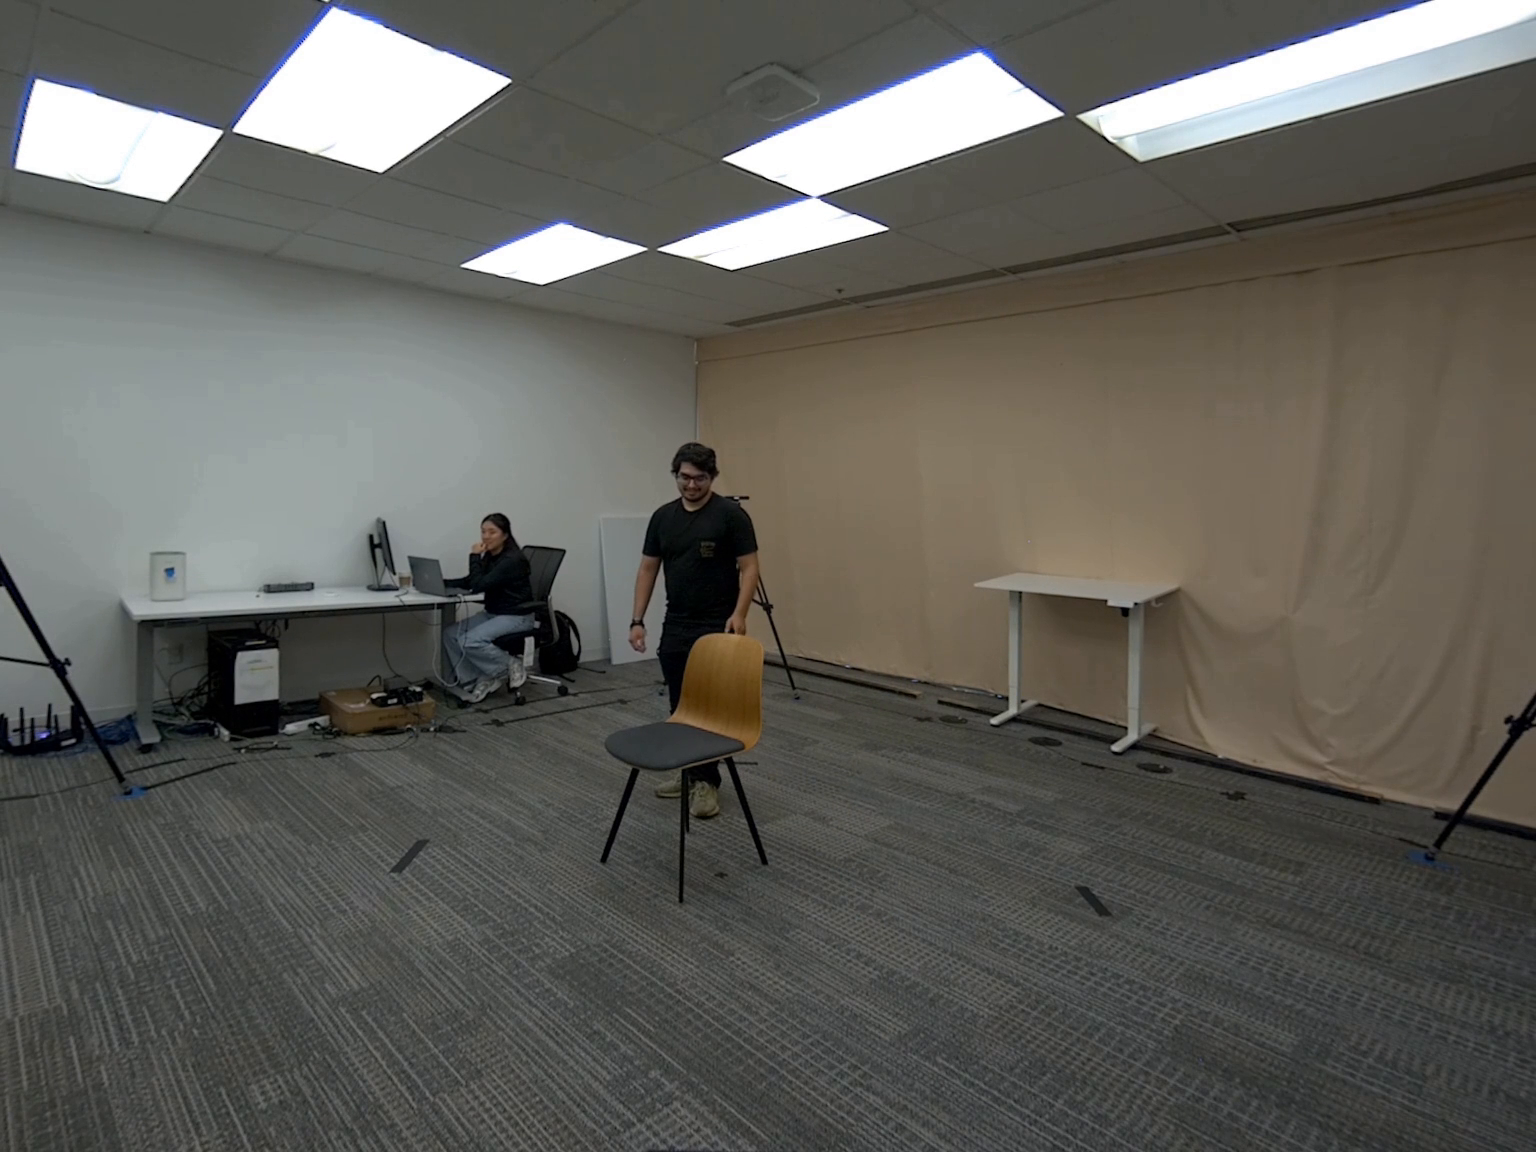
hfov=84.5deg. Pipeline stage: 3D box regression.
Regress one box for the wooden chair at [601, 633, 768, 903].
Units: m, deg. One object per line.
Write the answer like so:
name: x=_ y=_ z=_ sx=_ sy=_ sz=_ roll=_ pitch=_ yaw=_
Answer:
wooden chair: x=-0.315 y=0.669 z=3.153 sx=0.490 sy=0.877 sz=0.510 roll=5 pitch=1 yaw=43
